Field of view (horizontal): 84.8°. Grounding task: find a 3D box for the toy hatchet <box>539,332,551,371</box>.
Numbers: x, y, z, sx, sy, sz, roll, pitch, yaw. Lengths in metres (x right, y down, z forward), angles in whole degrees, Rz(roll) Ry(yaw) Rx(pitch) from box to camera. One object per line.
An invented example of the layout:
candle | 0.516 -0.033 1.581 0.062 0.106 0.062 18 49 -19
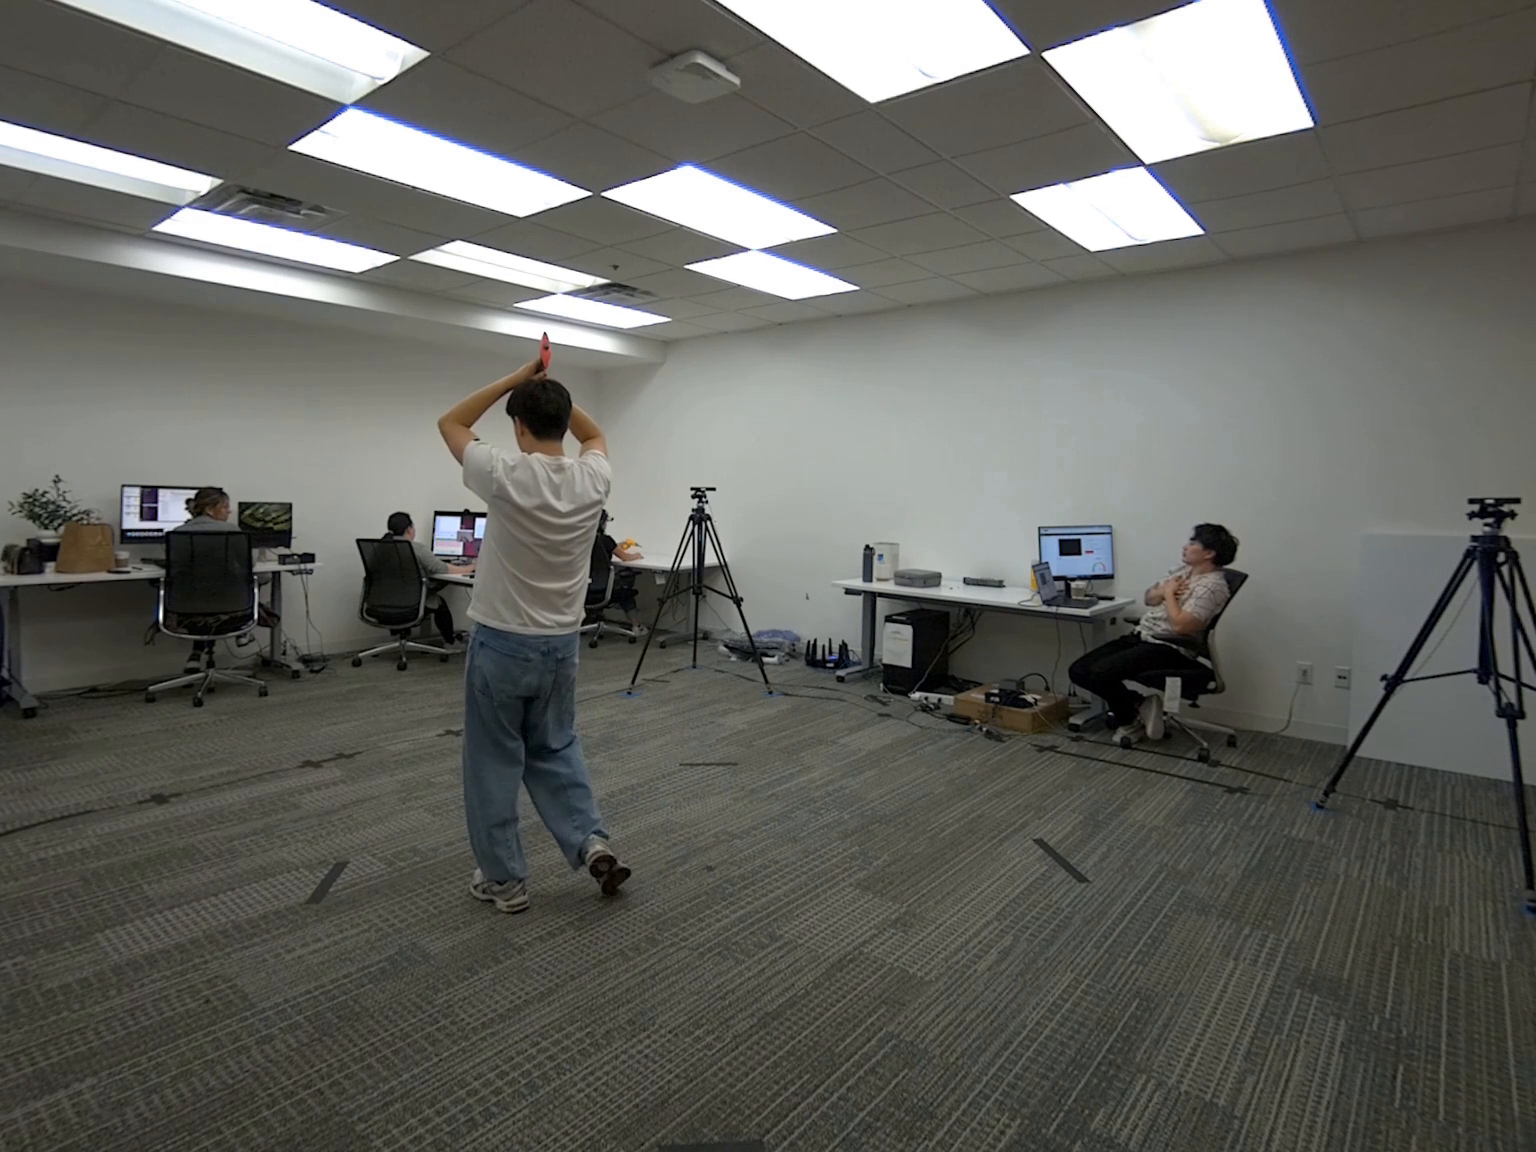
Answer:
toy hatchet | -0.755 -0.726 2.808 0.029 0.131 0.275 1 0 -22
